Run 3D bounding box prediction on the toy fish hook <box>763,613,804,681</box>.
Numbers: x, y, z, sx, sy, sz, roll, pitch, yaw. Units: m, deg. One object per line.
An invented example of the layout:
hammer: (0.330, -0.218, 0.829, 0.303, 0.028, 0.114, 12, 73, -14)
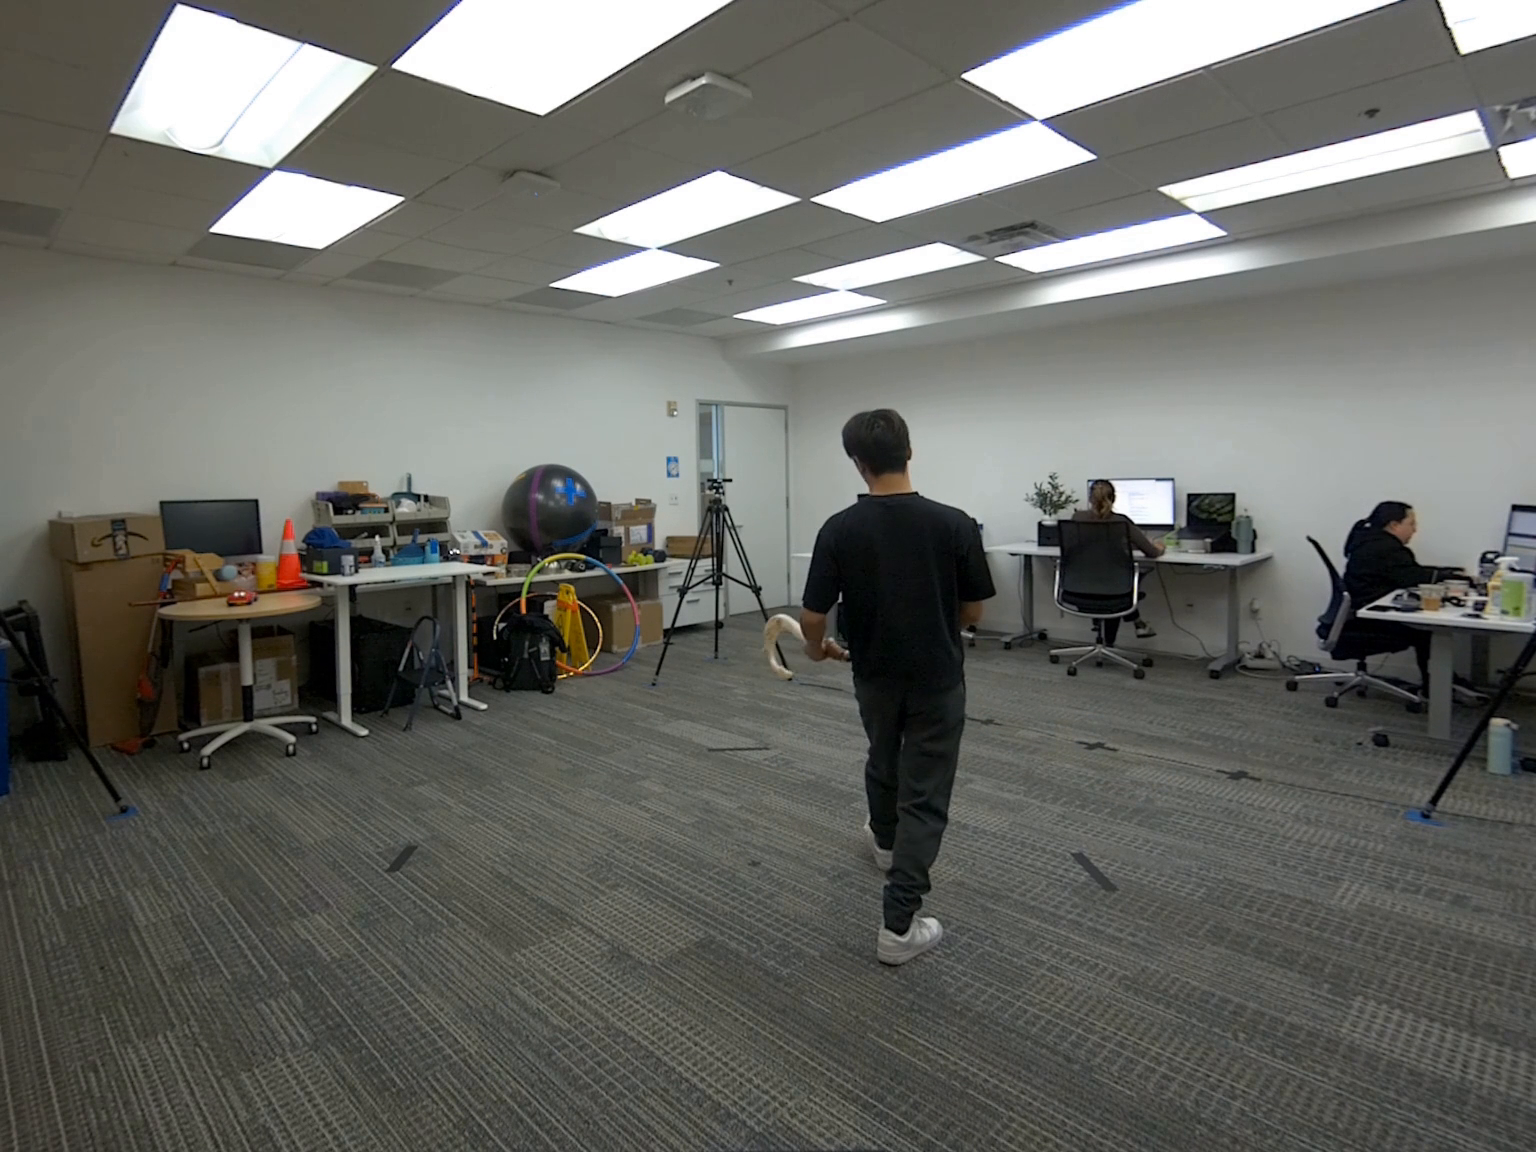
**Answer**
toy fish hook: (0.141, 0.281, 2.987, 0.047, 0.223, 0.522, -3, 10, -29)
